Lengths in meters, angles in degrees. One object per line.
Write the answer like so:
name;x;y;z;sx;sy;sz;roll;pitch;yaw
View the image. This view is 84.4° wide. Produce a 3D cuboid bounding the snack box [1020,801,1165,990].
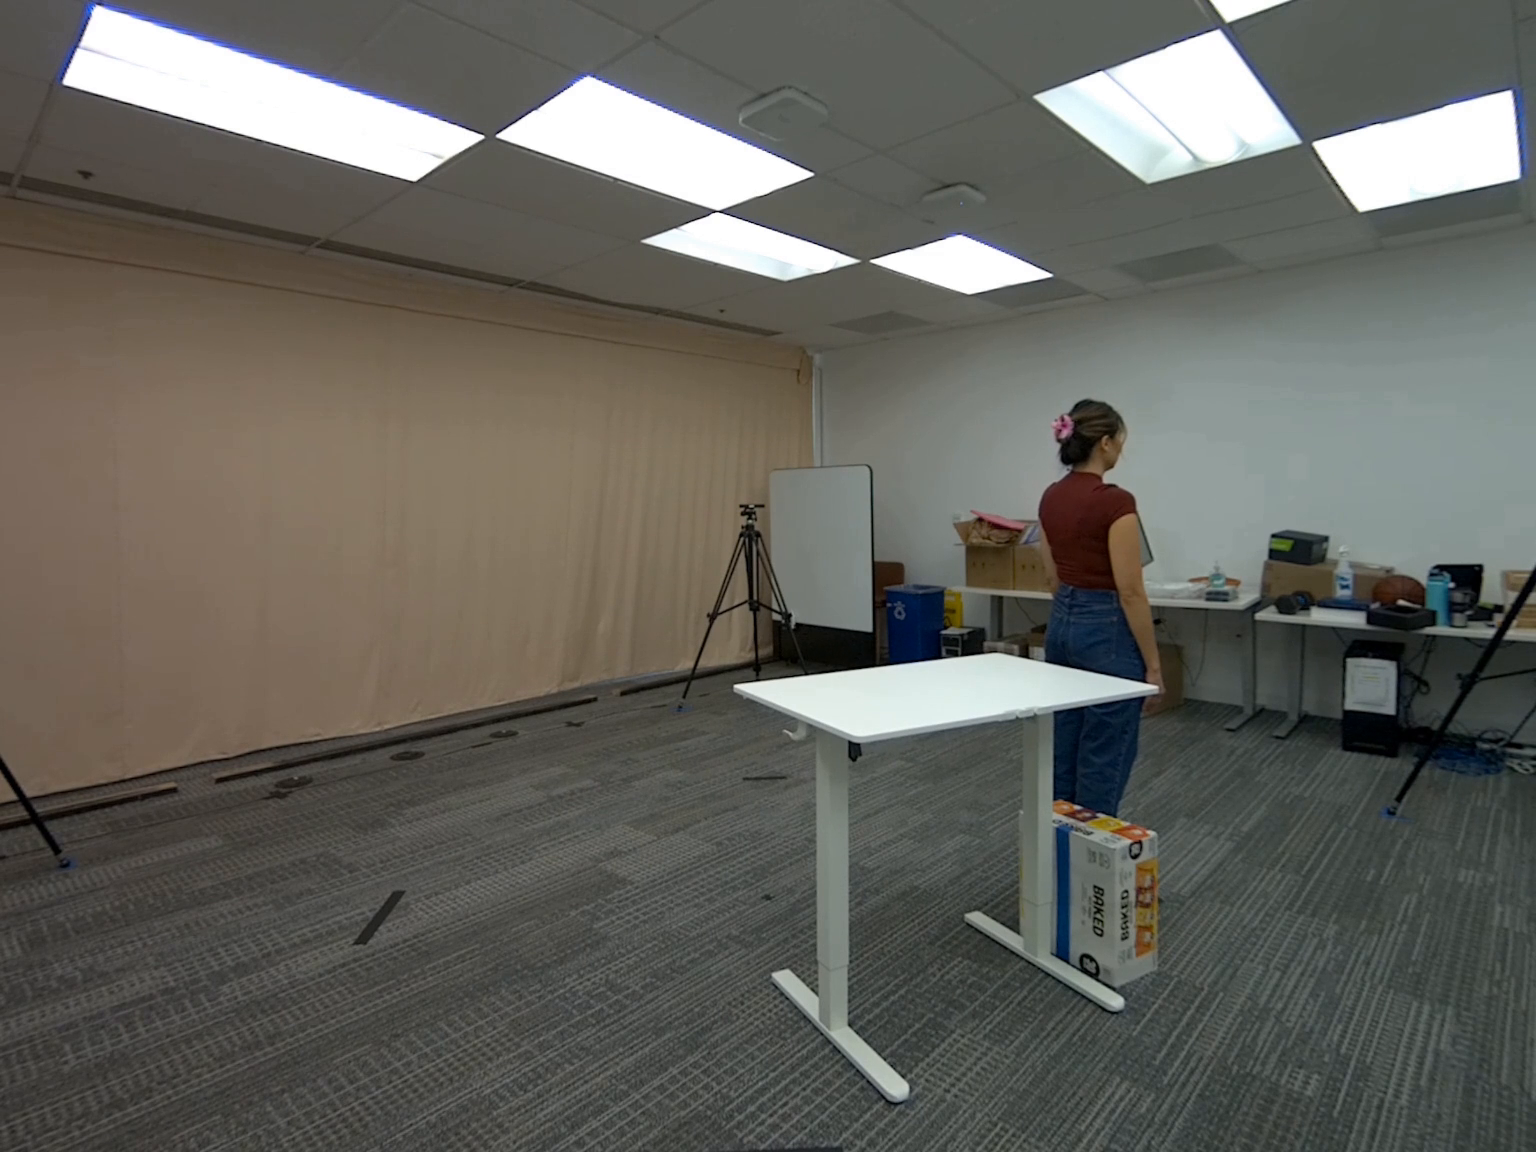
snack box;0.978;0.946;2.576;0.200;0.404;0.350;-3;3;-31
